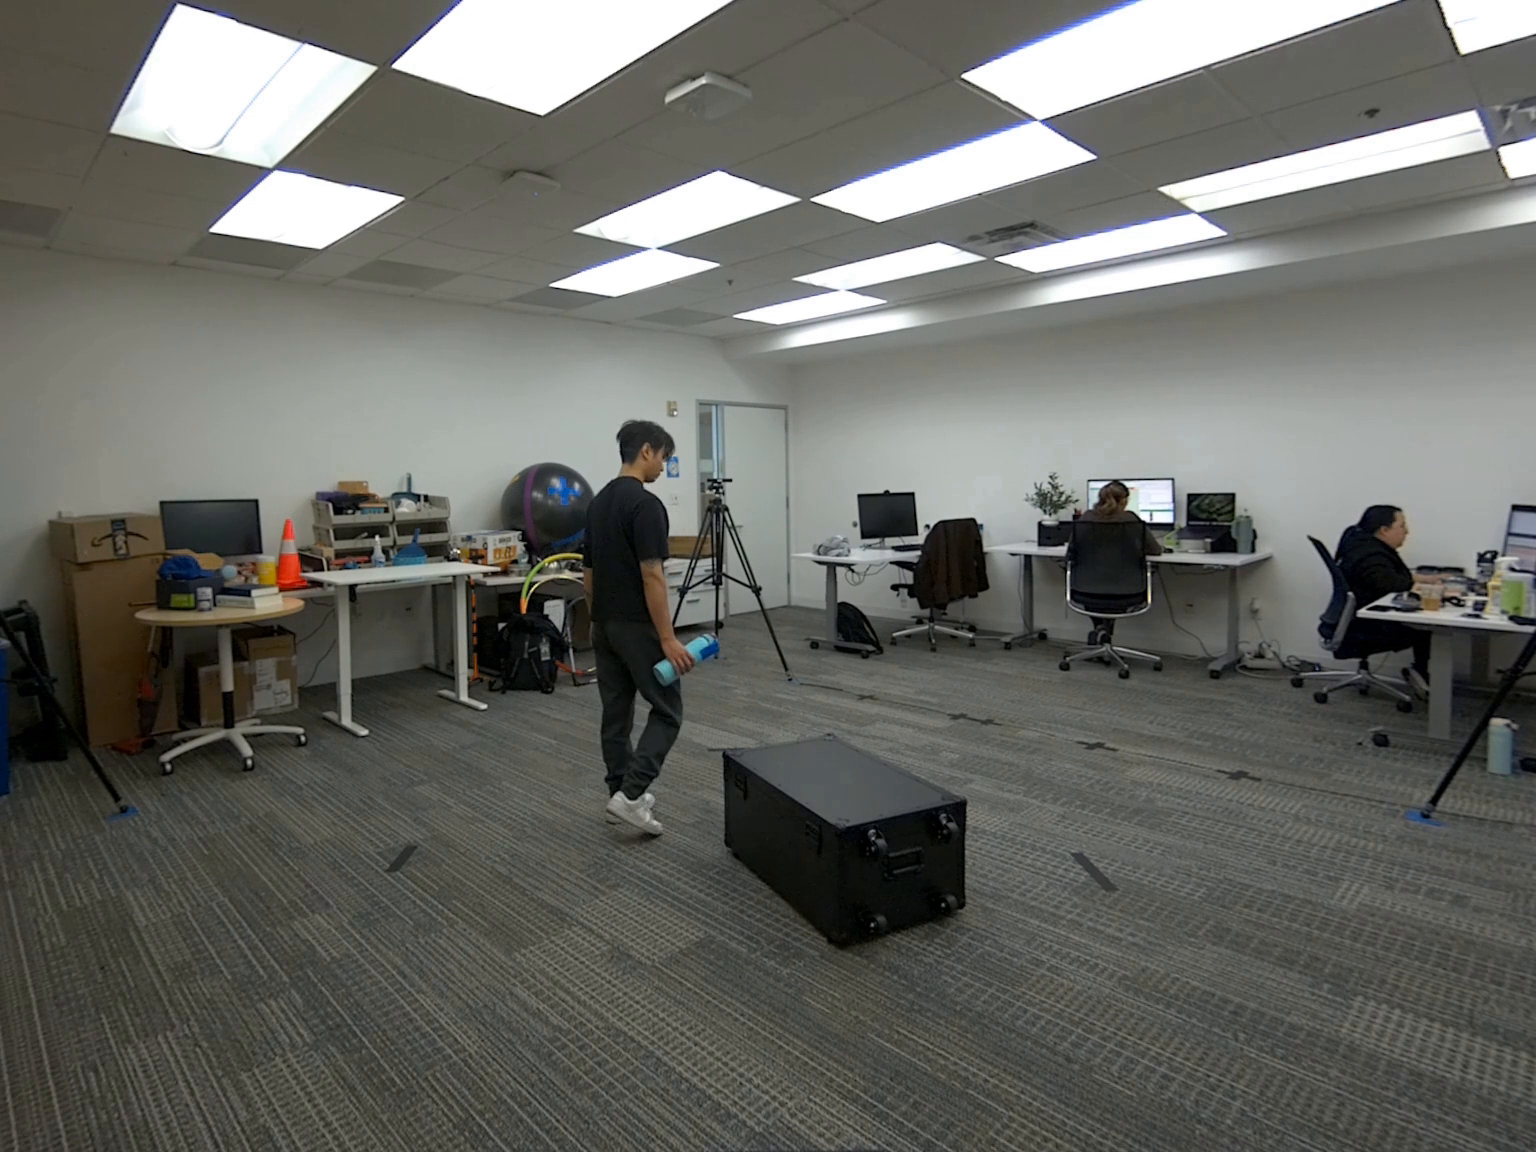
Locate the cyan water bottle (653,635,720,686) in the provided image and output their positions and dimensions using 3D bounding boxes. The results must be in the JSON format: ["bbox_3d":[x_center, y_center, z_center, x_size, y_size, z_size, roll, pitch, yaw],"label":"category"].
[{"bbox_3d":[-0.311,0.317,3.321,0.281,0.090,0.095,-32,19,-26],"label":"cyan water bottle"}]
